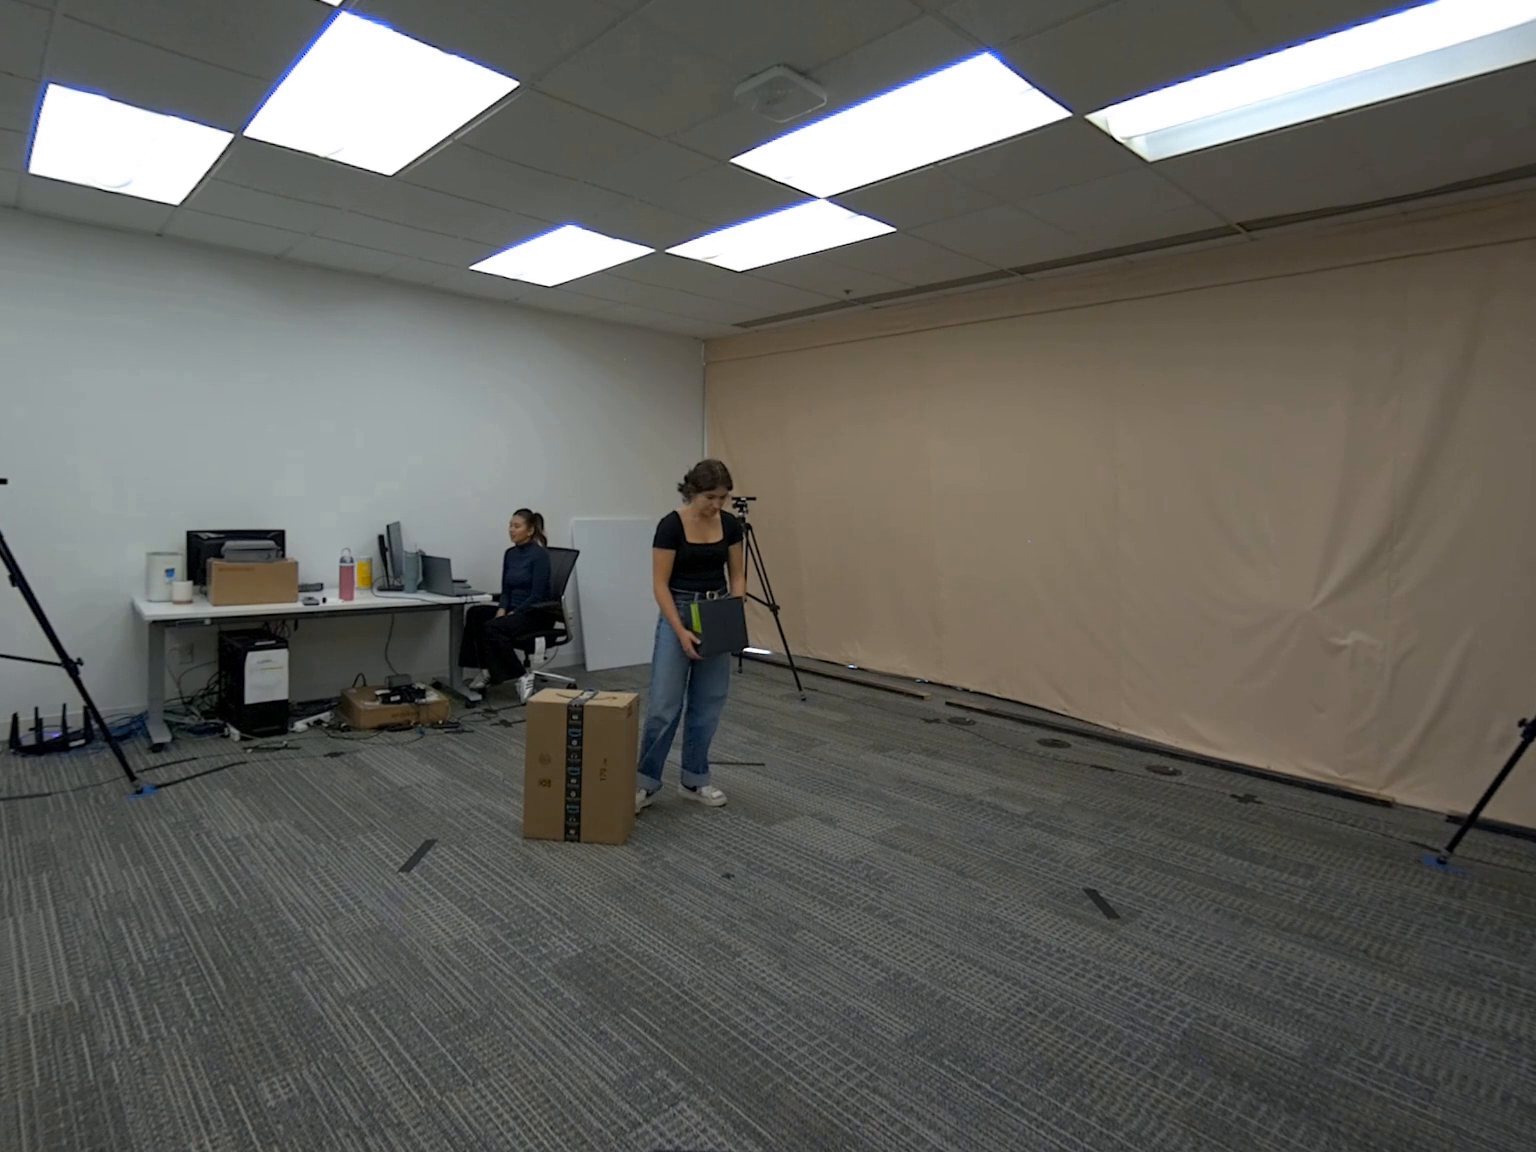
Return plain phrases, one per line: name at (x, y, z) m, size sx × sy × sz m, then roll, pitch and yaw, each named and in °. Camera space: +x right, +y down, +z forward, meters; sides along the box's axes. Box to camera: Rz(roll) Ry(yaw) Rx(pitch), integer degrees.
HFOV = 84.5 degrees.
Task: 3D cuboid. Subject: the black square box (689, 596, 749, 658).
black square box at (-0.241, 0.213, 3.635) m, size 0.213 × 0.228 × 0.158 m, roll -6°, pitch 0°, yaw -27°
